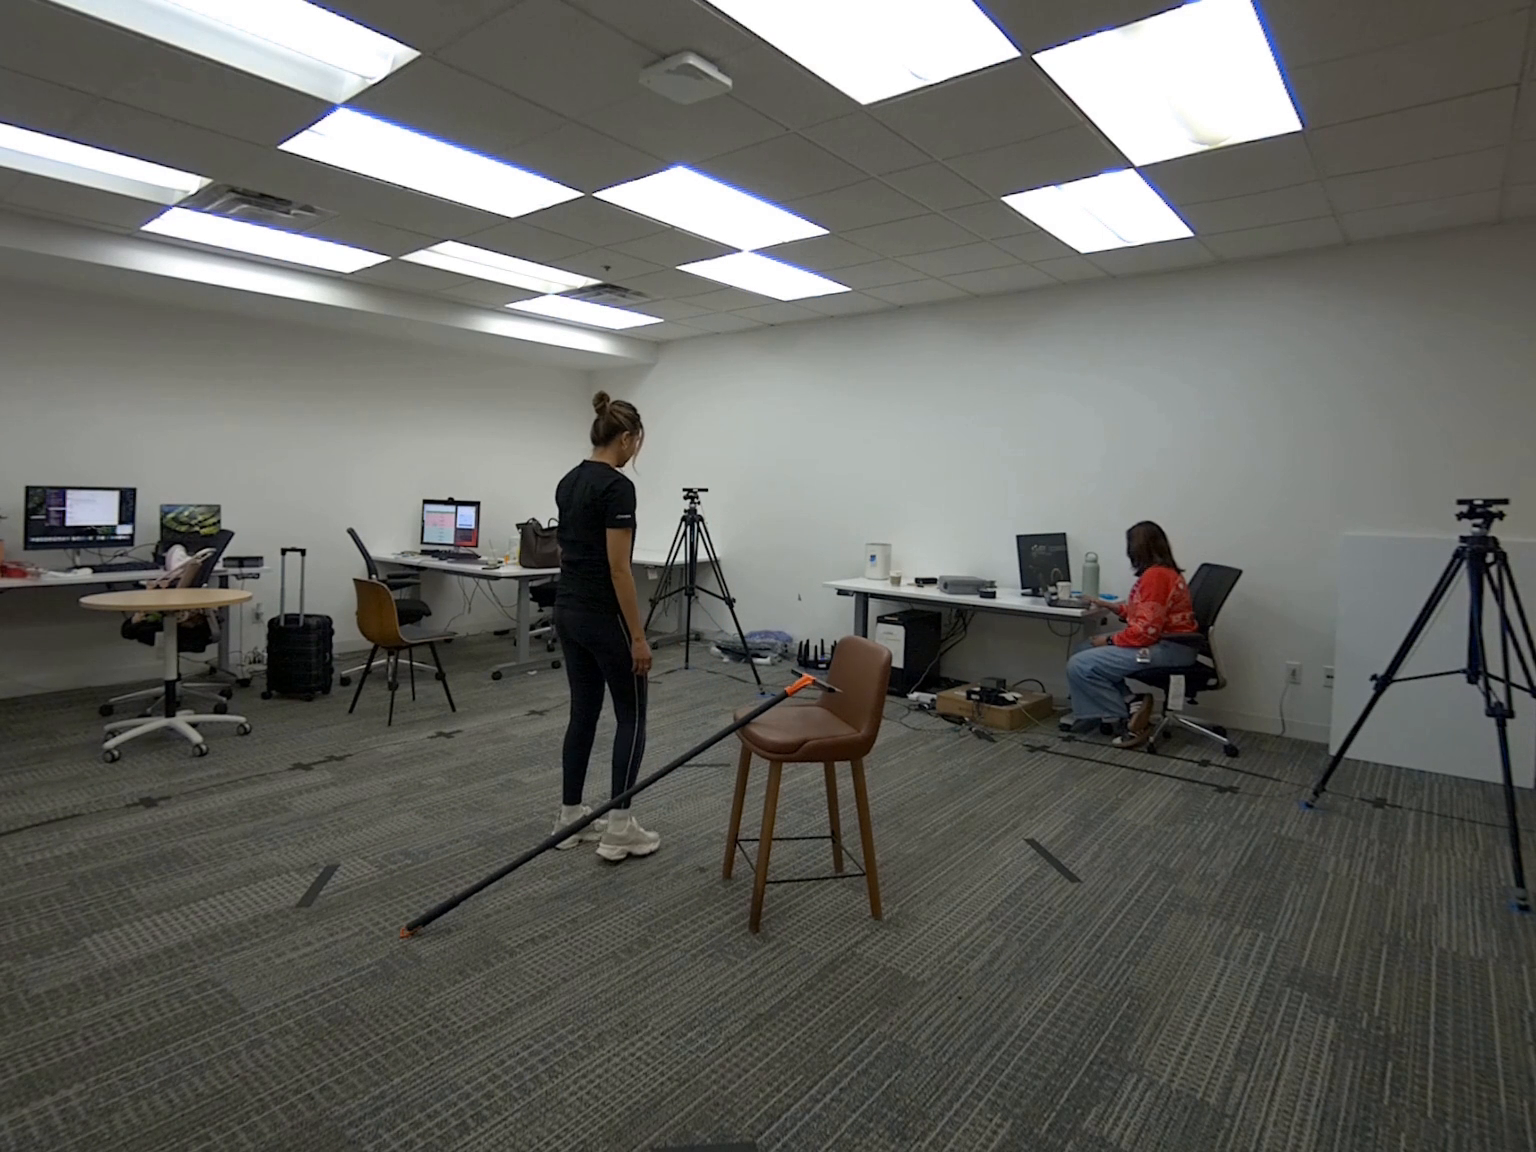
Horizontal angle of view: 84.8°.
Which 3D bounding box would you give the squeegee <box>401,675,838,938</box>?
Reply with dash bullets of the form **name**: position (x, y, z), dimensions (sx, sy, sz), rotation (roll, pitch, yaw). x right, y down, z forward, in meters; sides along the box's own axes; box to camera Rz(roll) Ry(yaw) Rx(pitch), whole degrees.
- **squeegee**: position (-0.480, 0.710, 2.743), dimensions (1.530, 0.053, 0.439), rotation (-30, 2, -11)
